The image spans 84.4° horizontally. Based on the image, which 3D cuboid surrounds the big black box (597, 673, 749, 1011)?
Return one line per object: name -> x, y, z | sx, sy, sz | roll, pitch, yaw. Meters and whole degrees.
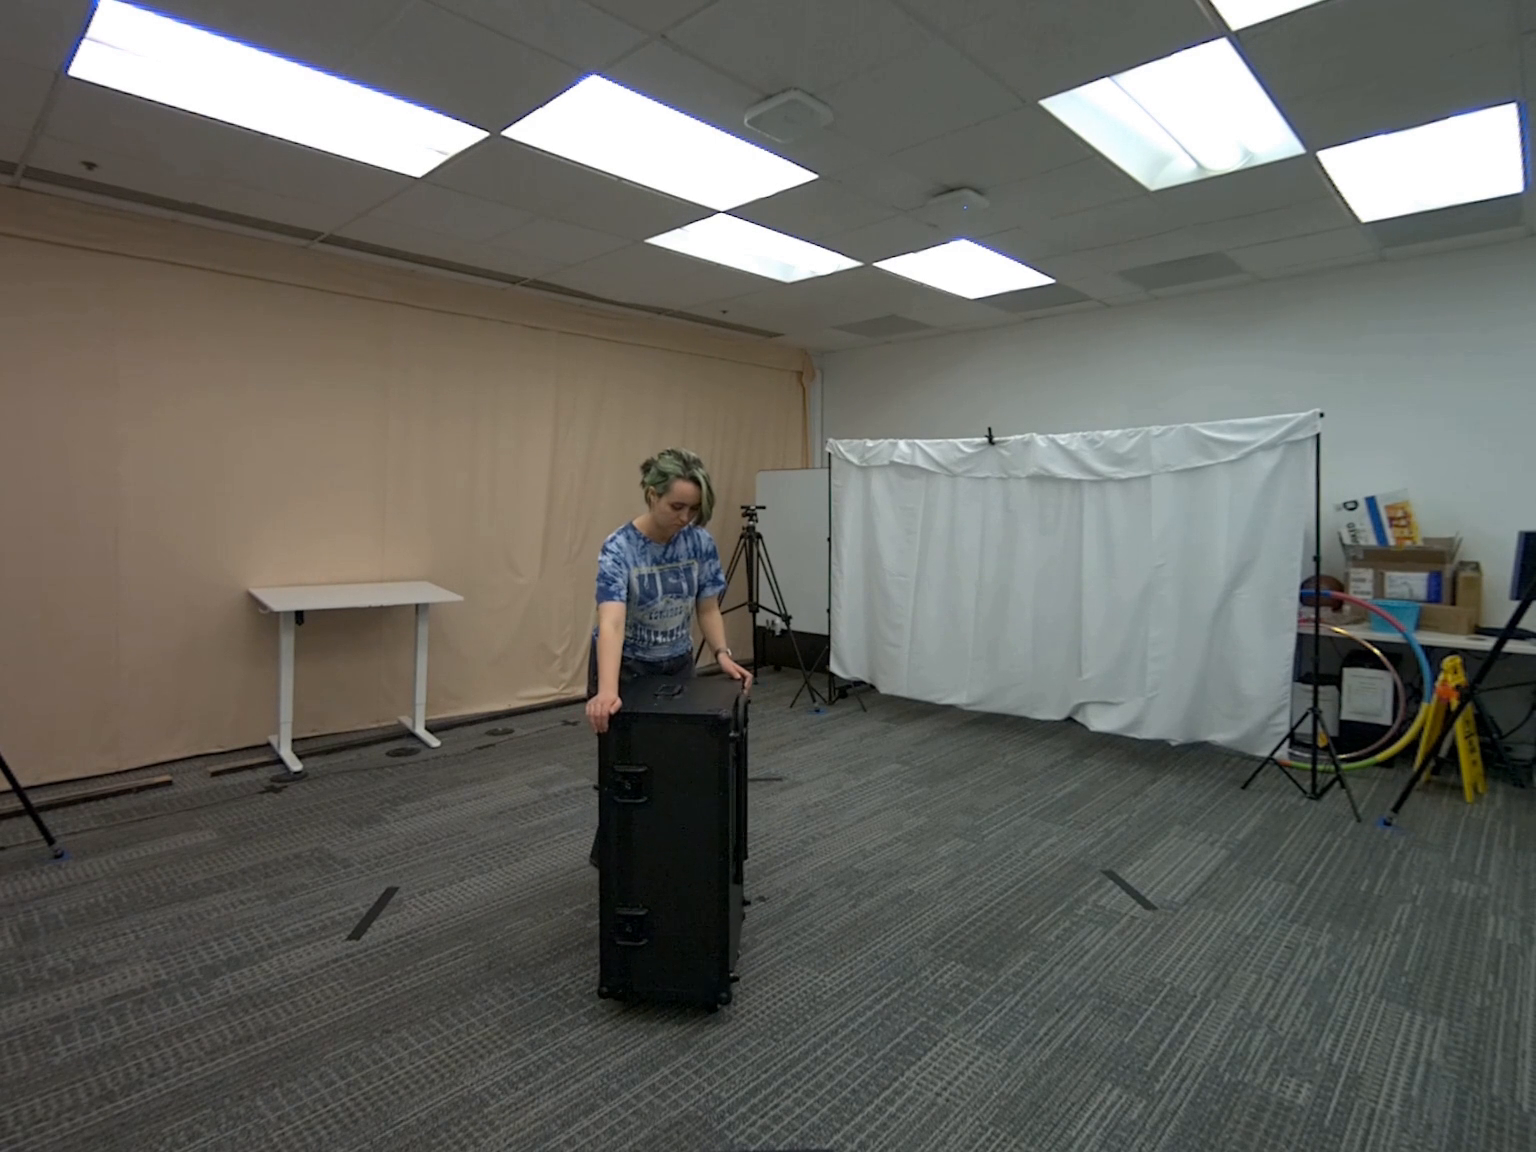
big black box -> -0.262, 0.764, 2.475 | 0.400, 0.860, 0.517 | 1, 3, 8
